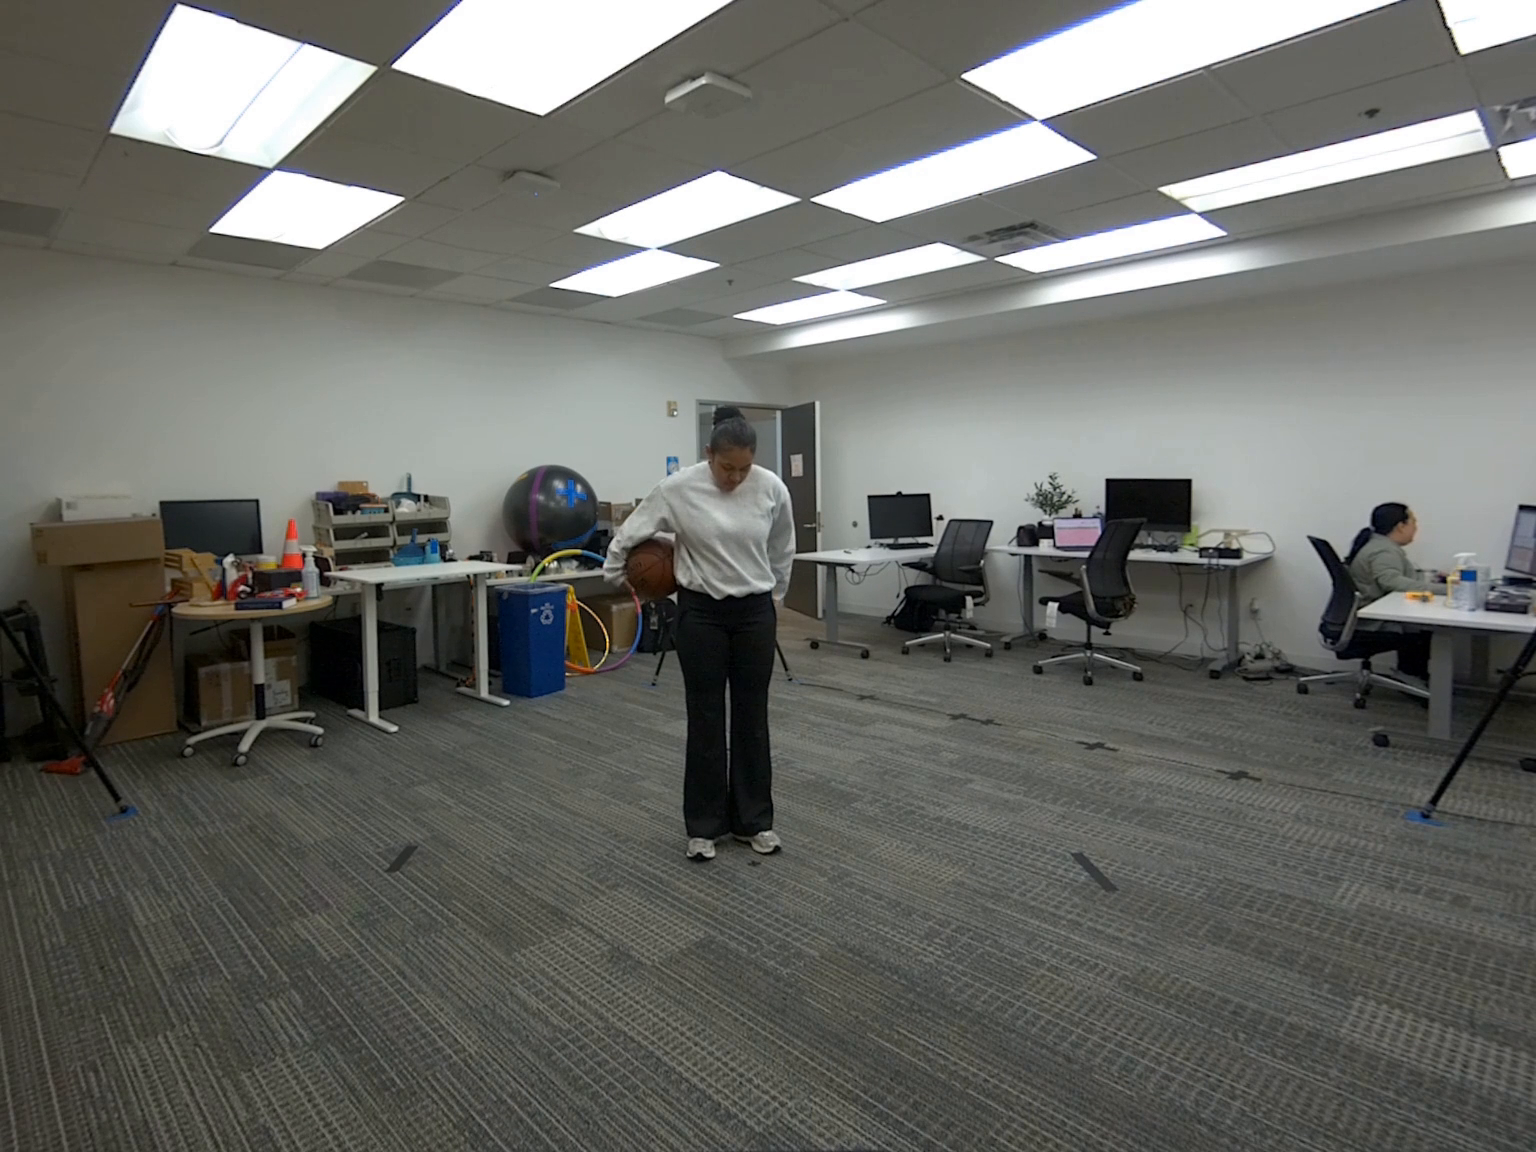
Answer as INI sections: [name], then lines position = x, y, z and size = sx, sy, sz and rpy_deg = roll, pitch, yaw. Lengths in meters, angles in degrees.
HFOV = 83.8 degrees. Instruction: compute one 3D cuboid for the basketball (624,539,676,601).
[basketball]
position = -0.423, -0.032, 3.287
size = 0.236, 0.235, 0.237
rpy_deg = -1, 5, -2
